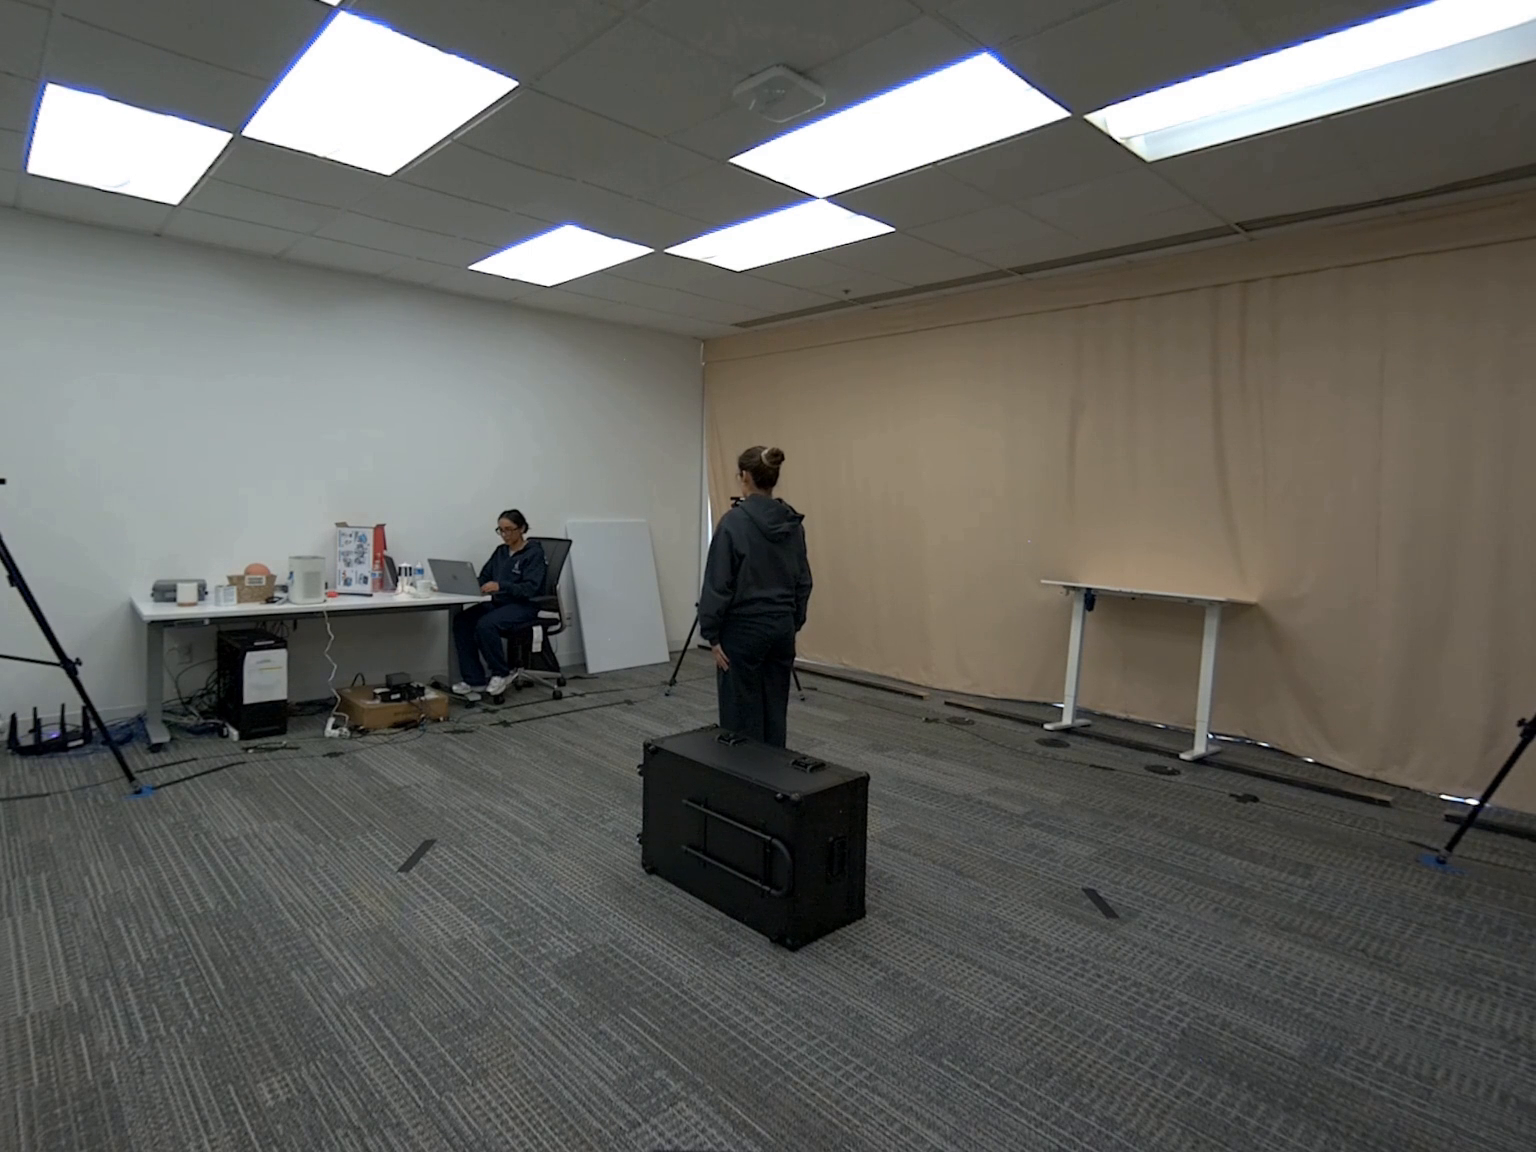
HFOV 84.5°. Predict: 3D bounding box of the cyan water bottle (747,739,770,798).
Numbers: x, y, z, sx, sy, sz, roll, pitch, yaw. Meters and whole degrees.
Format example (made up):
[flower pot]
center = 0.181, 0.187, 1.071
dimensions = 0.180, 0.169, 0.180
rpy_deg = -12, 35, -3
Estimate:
[cyan water bottle]
center = -0.049, 0.890, 4.017
dimensions = 0.092, 0.283, 0.092
rpy_deg = 2, 2, -1
